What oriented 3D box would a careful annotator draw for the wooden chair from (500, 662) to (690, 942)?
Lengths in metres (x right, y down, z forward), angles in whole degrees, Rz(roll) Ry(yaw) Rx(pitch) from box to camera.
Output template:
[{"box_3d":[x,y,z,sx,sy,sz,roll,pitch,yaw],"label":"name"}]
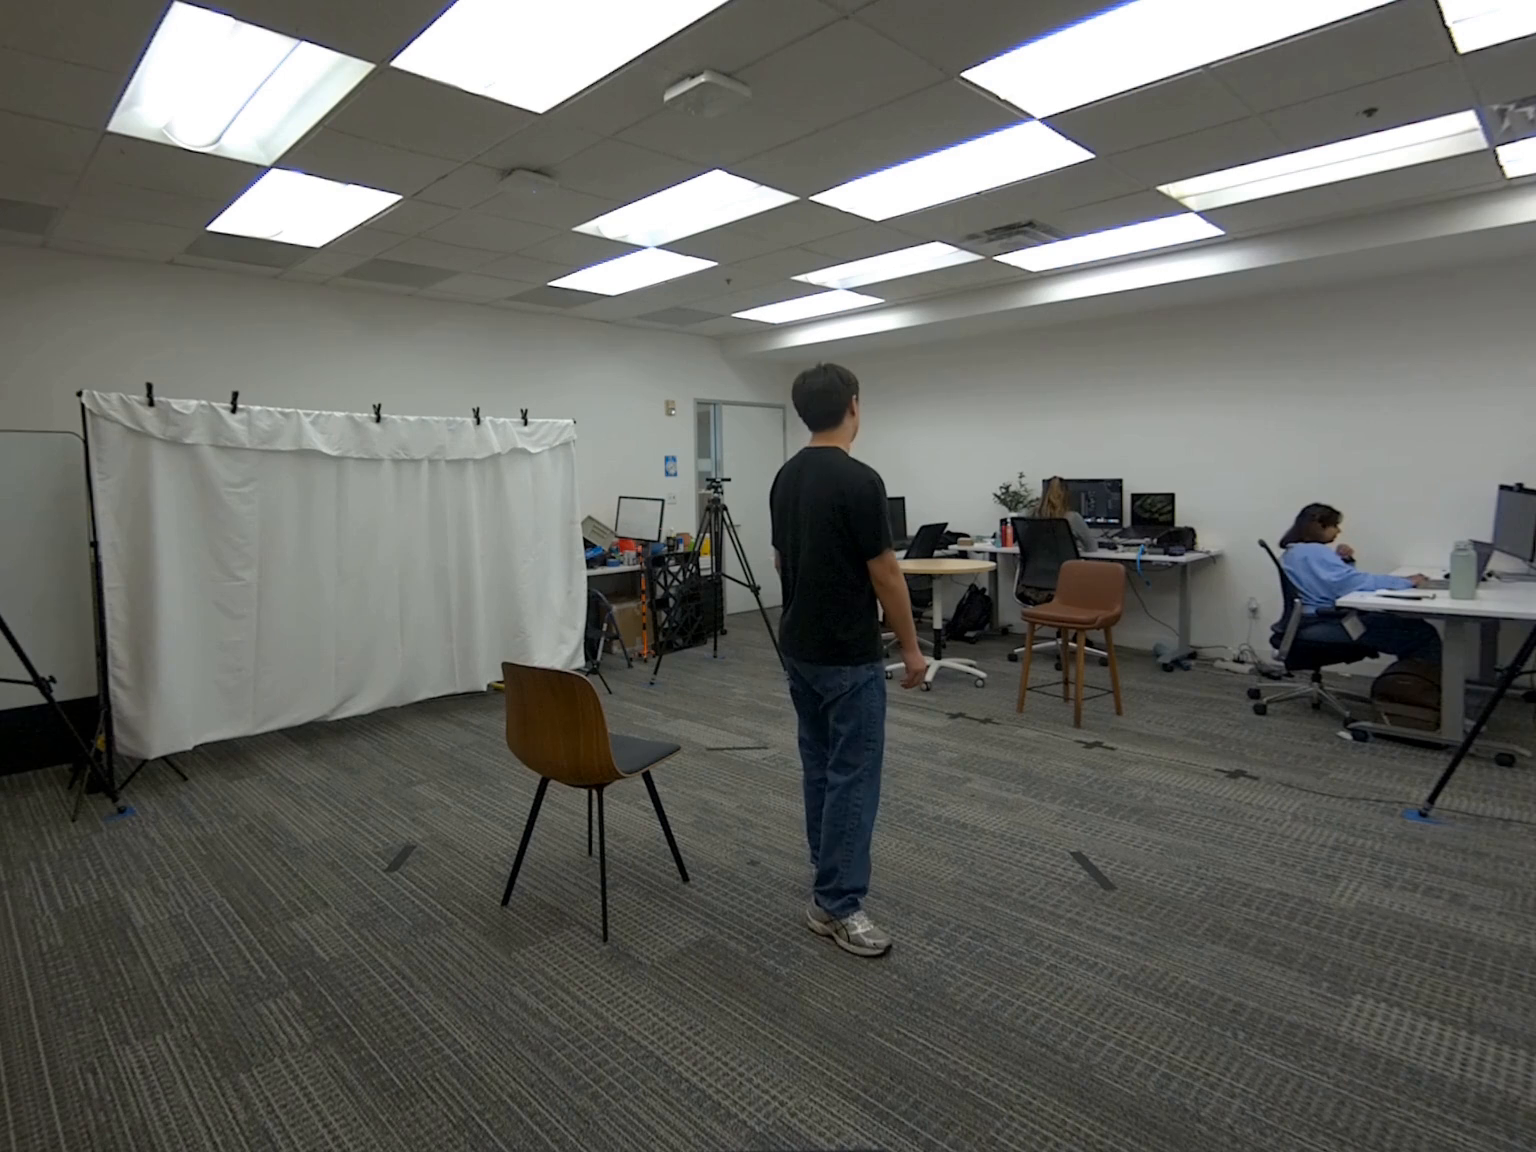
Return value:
[{"box_3d":[-0.574,0.651,2.869,0.491,0.871,0.513,1,9,30],"label":"wooden chair"}]
